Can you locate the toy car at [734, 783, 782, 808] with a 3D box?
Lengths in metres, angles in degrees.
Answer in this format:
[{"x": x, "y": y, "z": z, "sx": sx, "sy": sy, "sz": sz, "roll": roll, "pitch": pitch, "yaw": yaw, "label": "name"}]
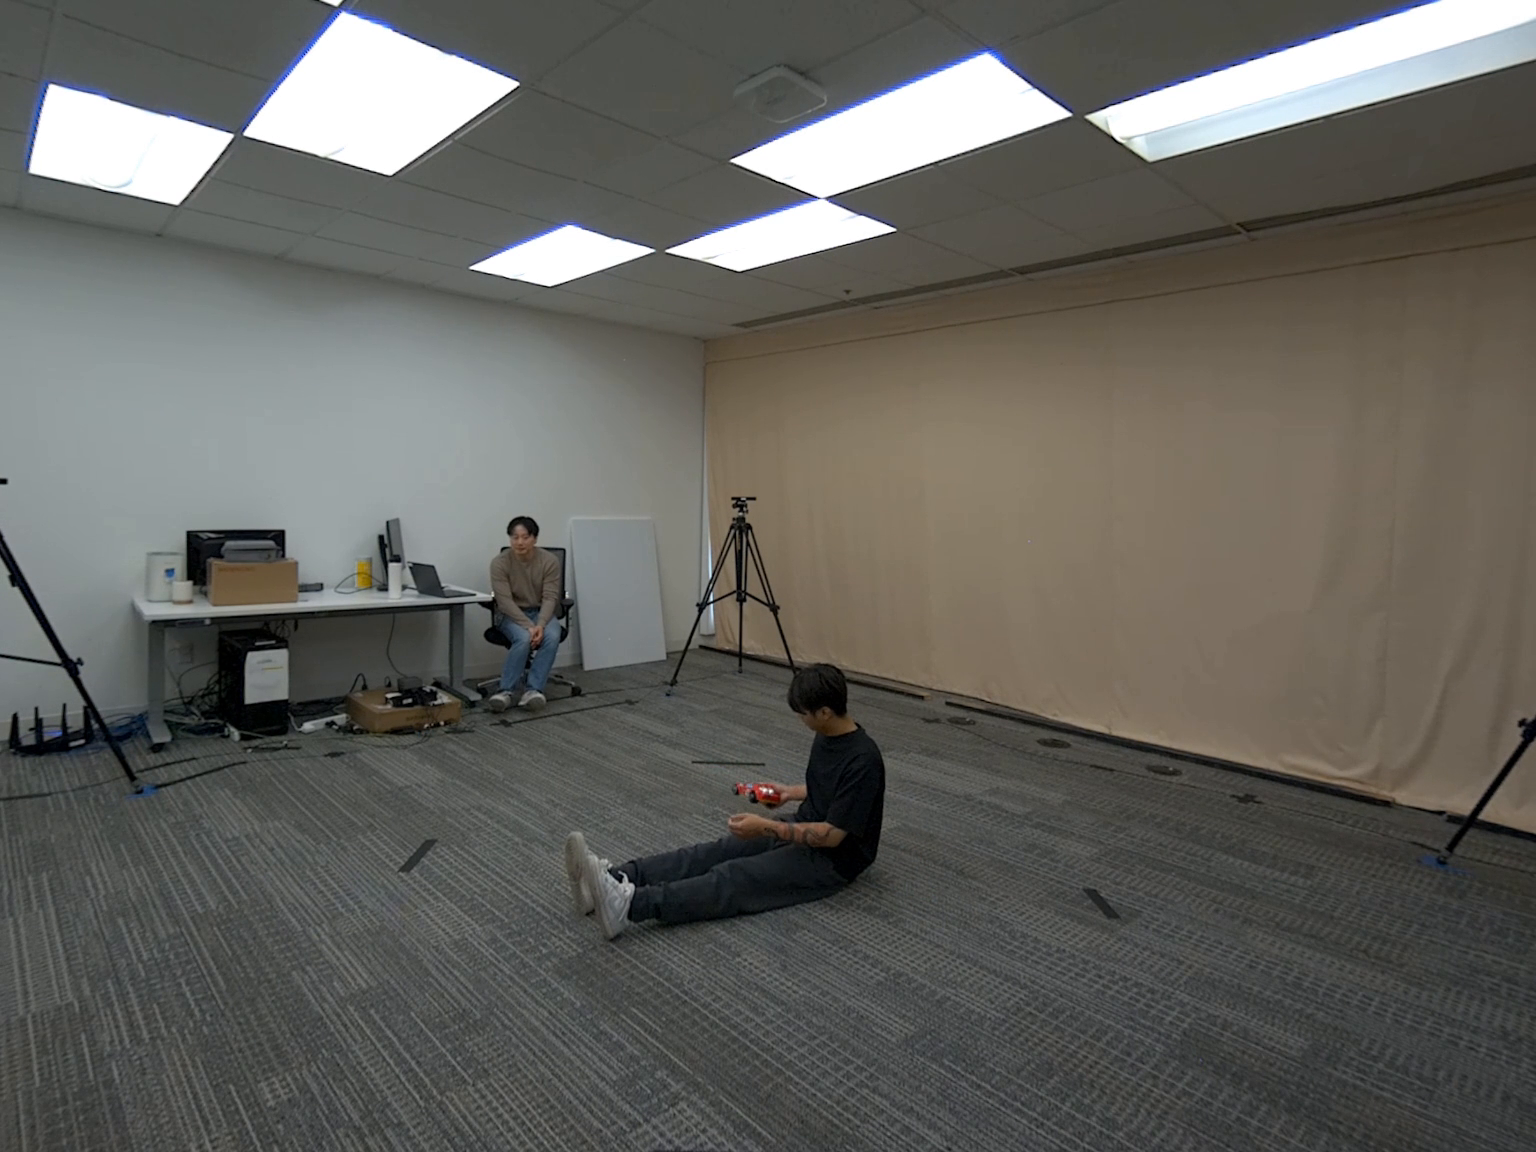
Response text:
[{"x": -0.064, "y": 0.911, "z": 3.509, "sx": 0.127, "sy": 0.084, "sz": 0.258, "roll": 21, "pitch": -21, "yaw": -29, "label": "toy car"}]
